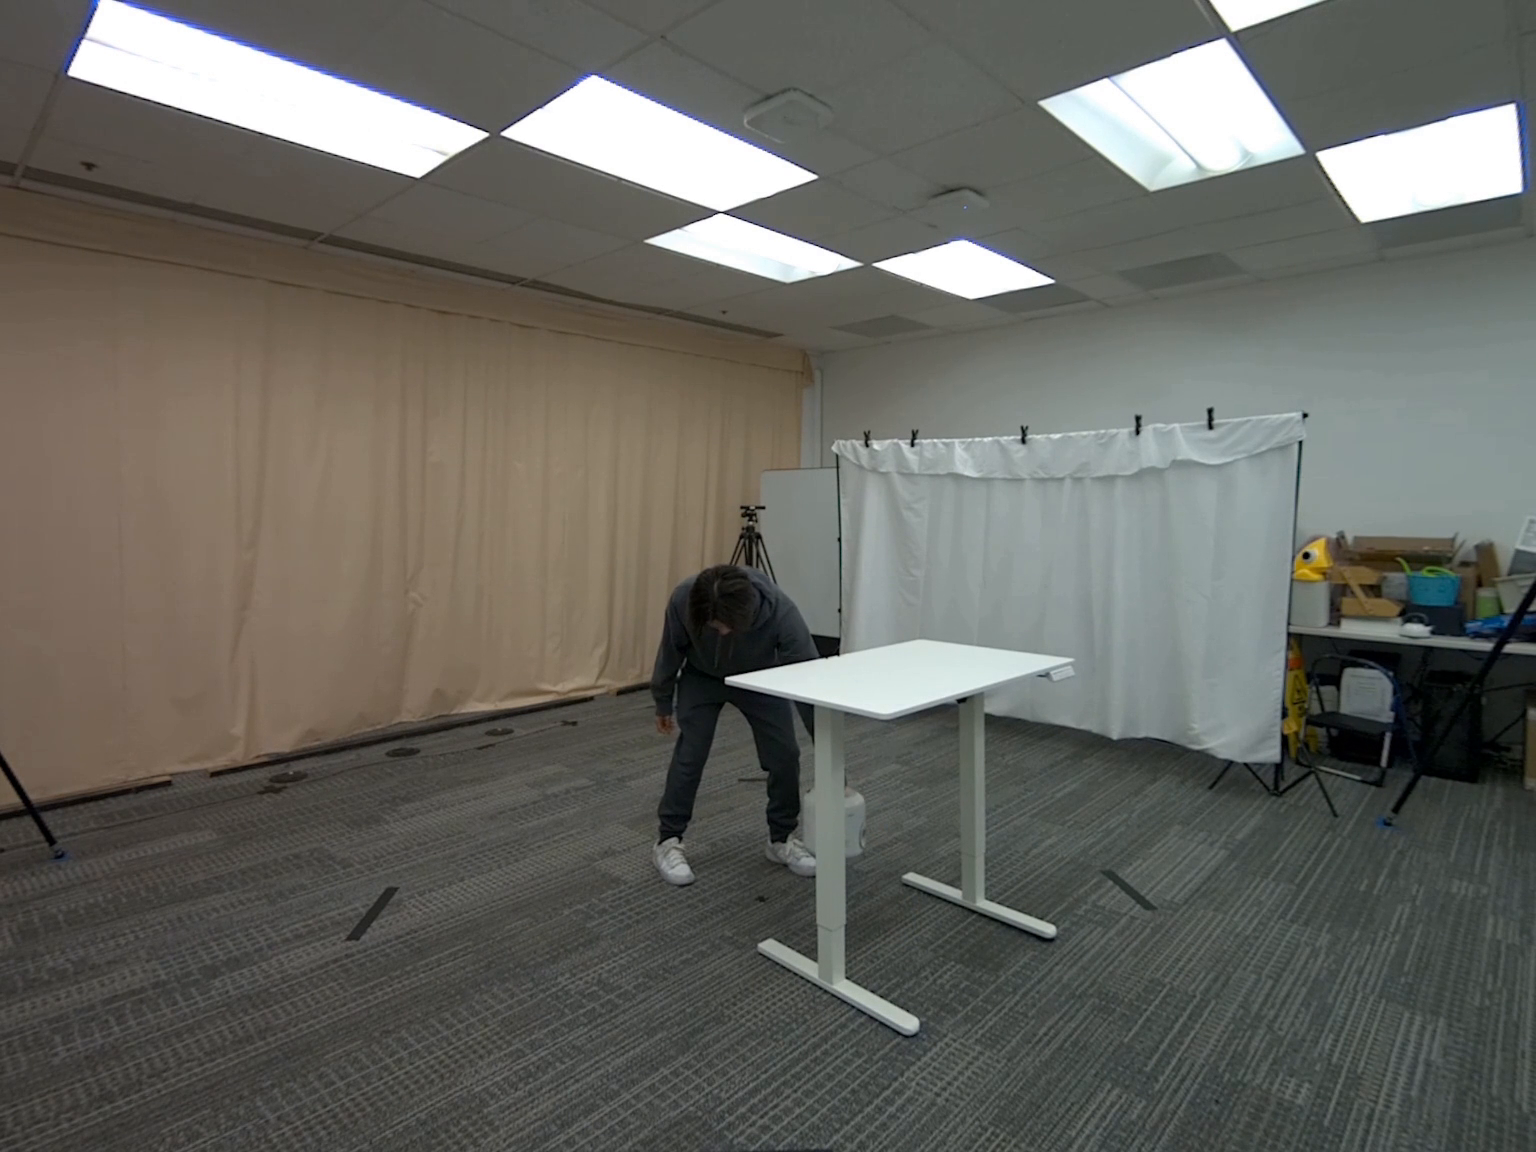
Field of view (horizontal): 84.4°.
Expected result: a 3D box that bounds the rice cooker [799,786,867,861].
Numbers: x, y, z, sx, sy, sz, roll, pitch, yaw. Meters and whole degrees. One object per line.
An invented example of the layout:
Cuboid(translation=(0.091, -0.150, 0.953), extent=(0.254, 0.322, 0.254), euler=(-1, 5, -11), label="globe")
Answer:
Cuboid(translation=(0.230, 0.832, 2.881), extent=(0.223, 0.232, 0.215), euler=(1, 2, 28), label="rice cooker")
